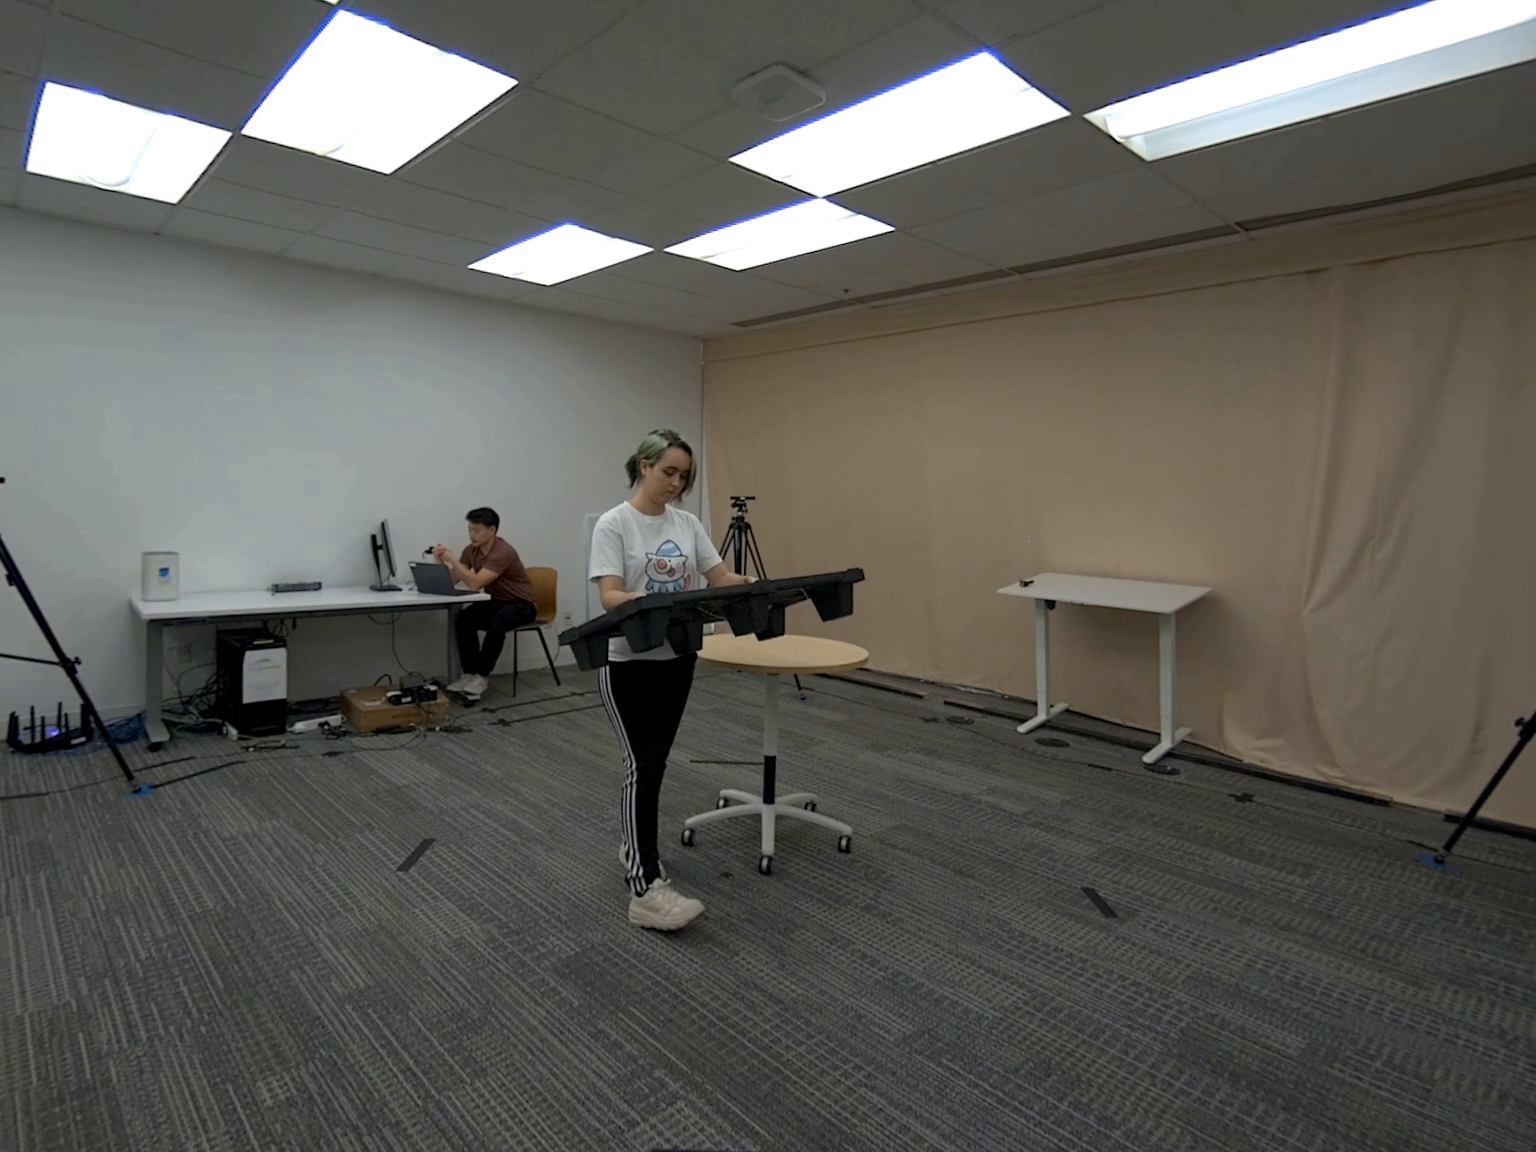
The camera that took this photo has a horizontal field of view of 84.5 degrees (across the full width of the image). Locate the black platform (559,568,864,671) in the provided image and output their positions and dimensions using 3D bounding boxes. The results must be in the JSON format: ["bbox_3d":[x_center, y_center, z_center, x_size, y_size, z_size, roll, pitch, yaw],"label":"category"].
[{"bbox_3d":[-0.166,0.144,2.618,0.790,0.144,0.612,-7,-8,-35],"label":"black platform"}]
